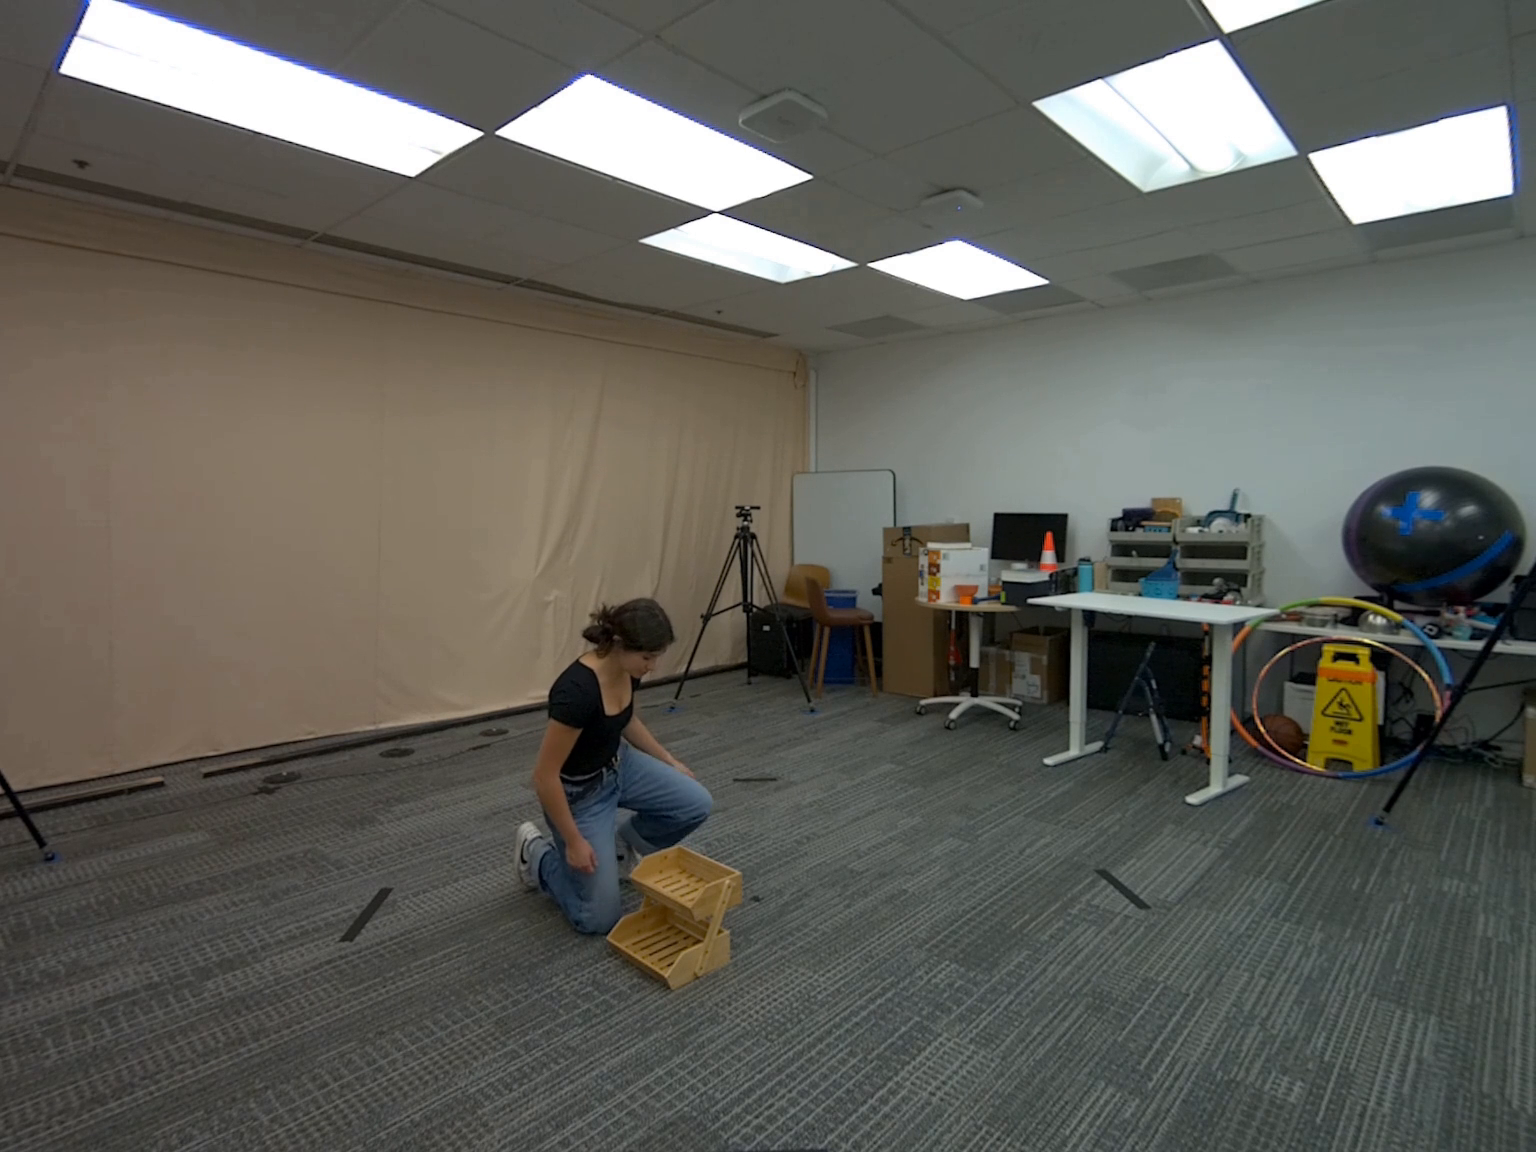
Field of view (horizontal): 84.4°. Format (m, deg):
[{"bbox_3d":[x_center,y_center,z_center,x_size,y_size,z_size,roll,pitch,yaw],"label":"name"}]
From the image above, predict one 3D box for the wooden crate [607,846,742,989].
[{"bbox_3d":[-0.291,1.044,2.608,0.293,0.273,0.335,-3,4,-44],"label":"wooden crate"}]
